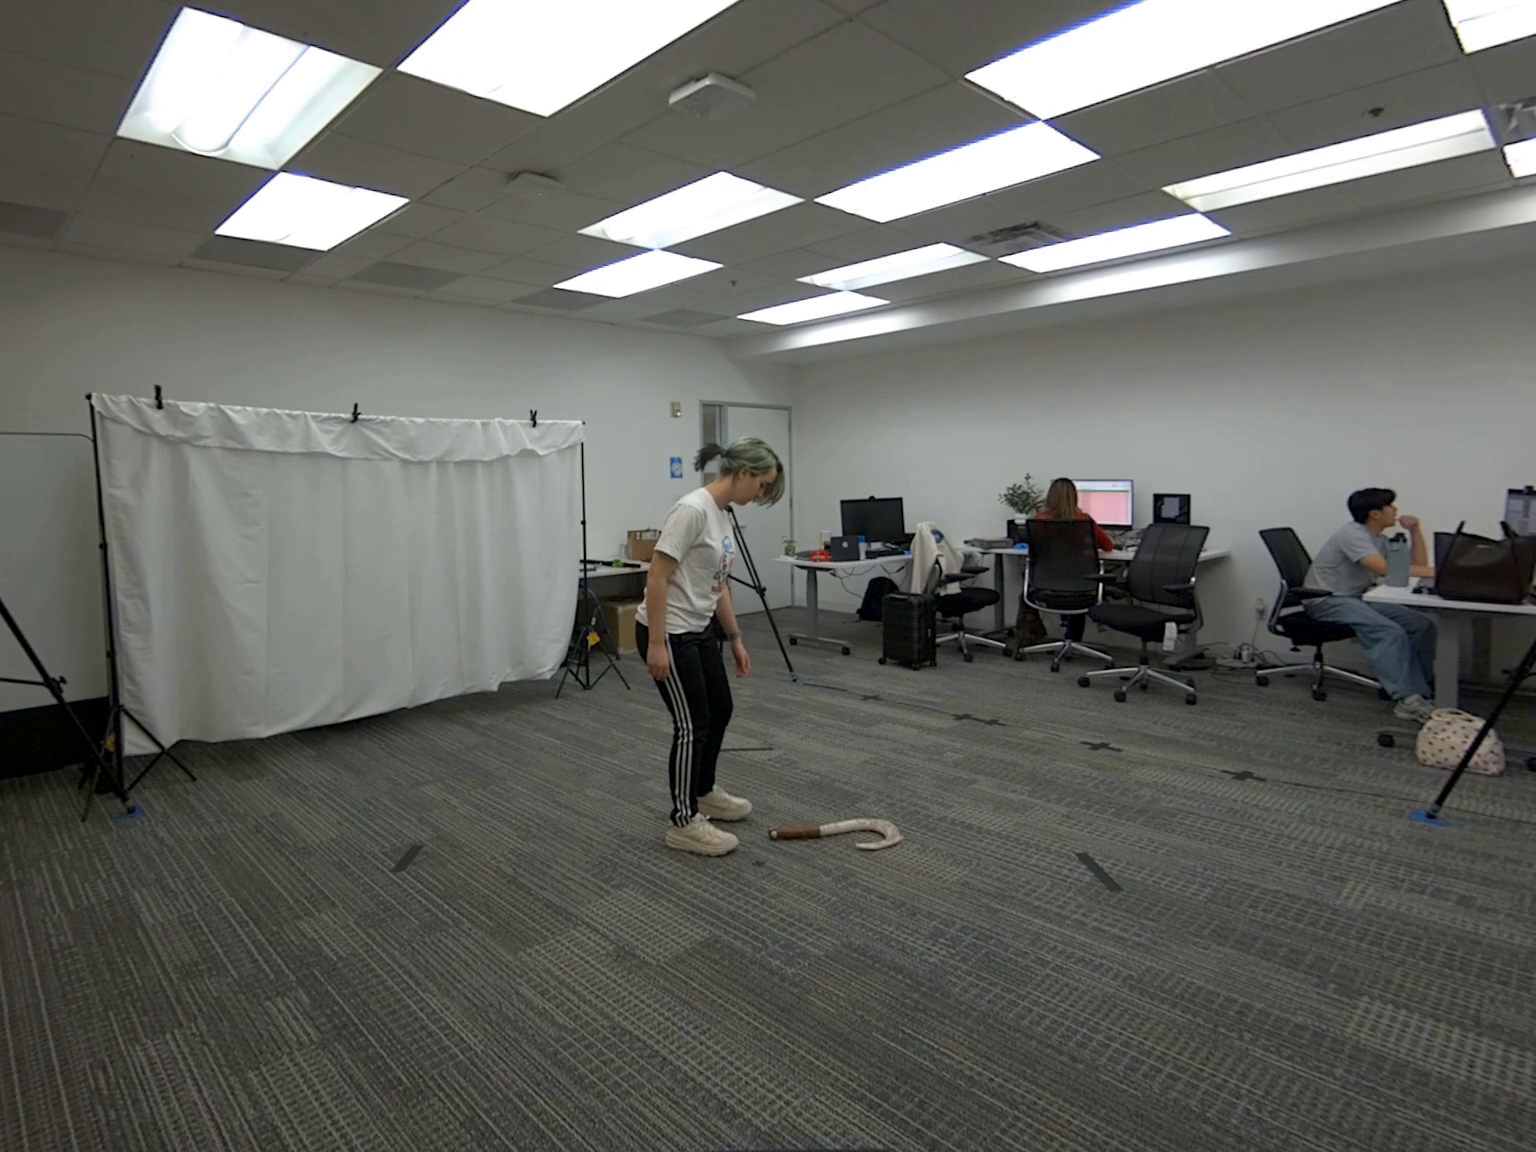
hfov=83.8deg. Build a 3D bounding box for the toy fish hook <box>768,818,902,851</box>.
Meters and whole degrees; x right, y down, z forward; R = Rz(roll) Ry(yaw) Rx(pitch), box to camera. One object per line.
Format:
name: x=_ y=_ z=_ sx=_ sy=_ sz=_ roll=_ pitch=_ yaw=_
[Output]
toy fish hook: x=0.261 y=0.996 z=3.289 sx=0.503 sy=0.048 sz=0.227 roll=-3 pitch=5 yaw=-7
